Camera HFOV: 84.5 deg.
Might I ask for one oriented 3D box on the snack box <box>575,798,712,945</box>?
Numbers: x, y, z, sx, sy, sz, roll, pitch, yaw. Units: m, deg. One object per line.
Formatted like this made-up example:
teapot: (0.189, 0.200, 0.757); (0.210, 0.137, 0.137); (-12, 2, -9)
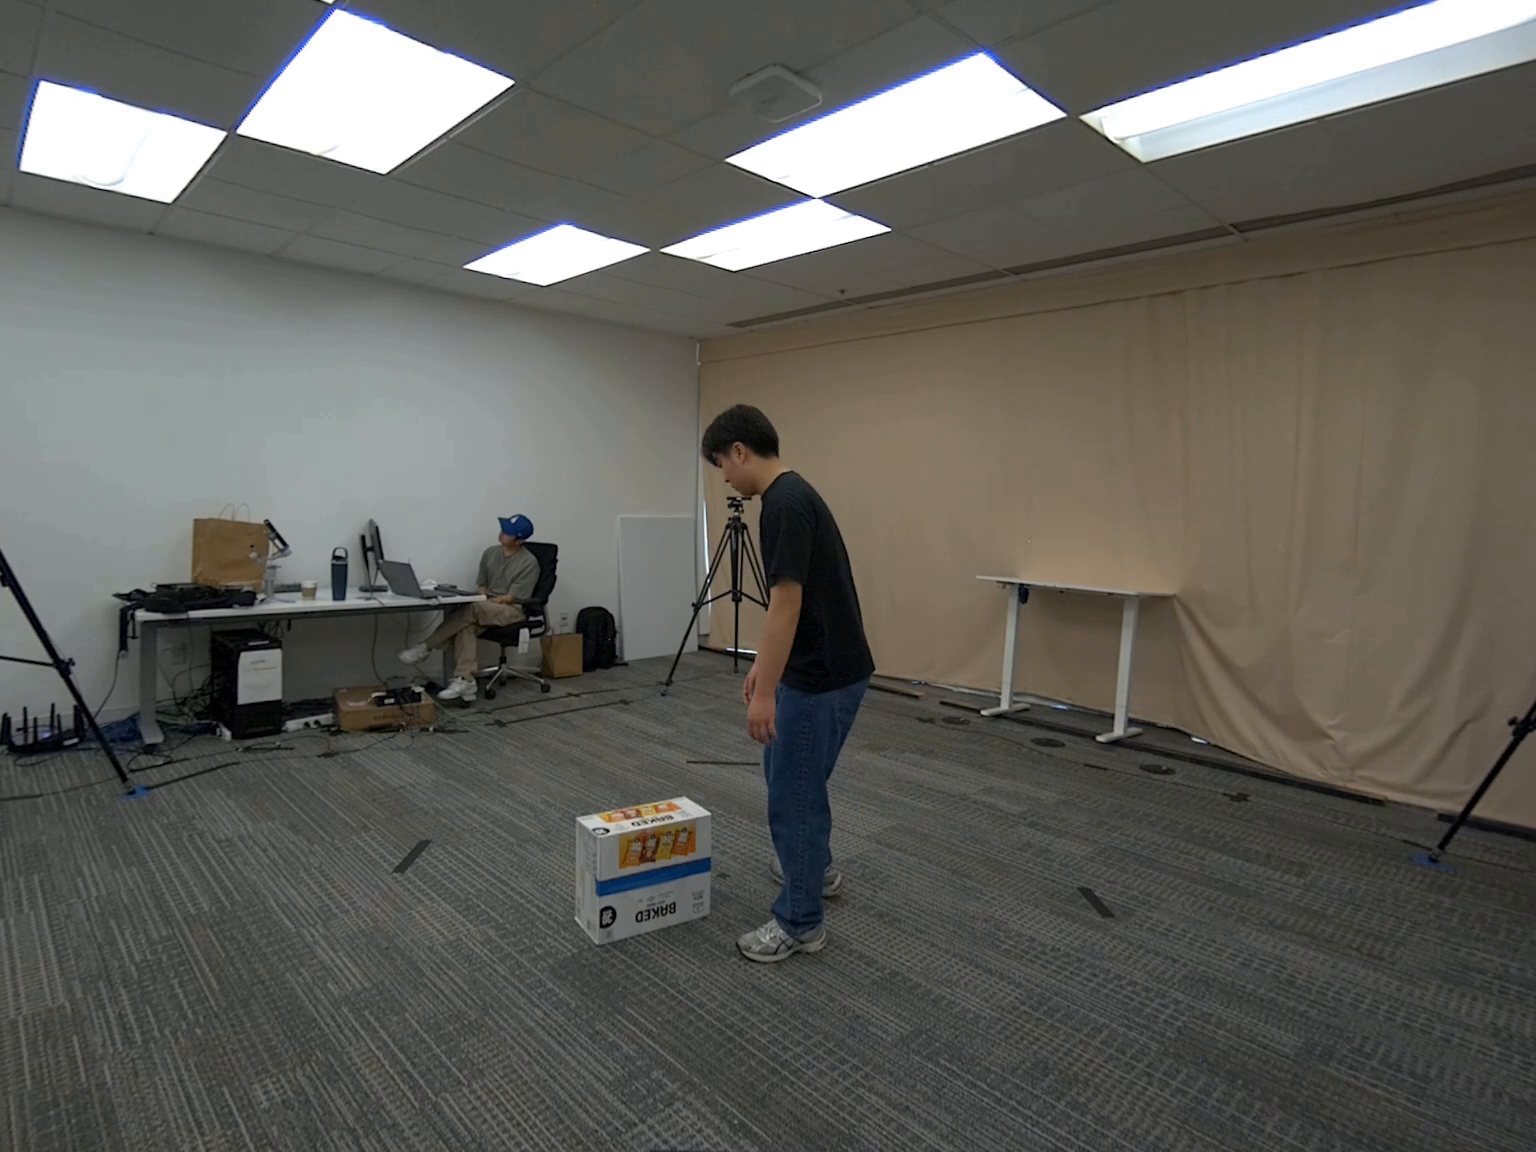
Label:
snack box: (-0.415, 0.963, 2.779); (0.397, 0.340, 0.210); (-1, 3, -32)
